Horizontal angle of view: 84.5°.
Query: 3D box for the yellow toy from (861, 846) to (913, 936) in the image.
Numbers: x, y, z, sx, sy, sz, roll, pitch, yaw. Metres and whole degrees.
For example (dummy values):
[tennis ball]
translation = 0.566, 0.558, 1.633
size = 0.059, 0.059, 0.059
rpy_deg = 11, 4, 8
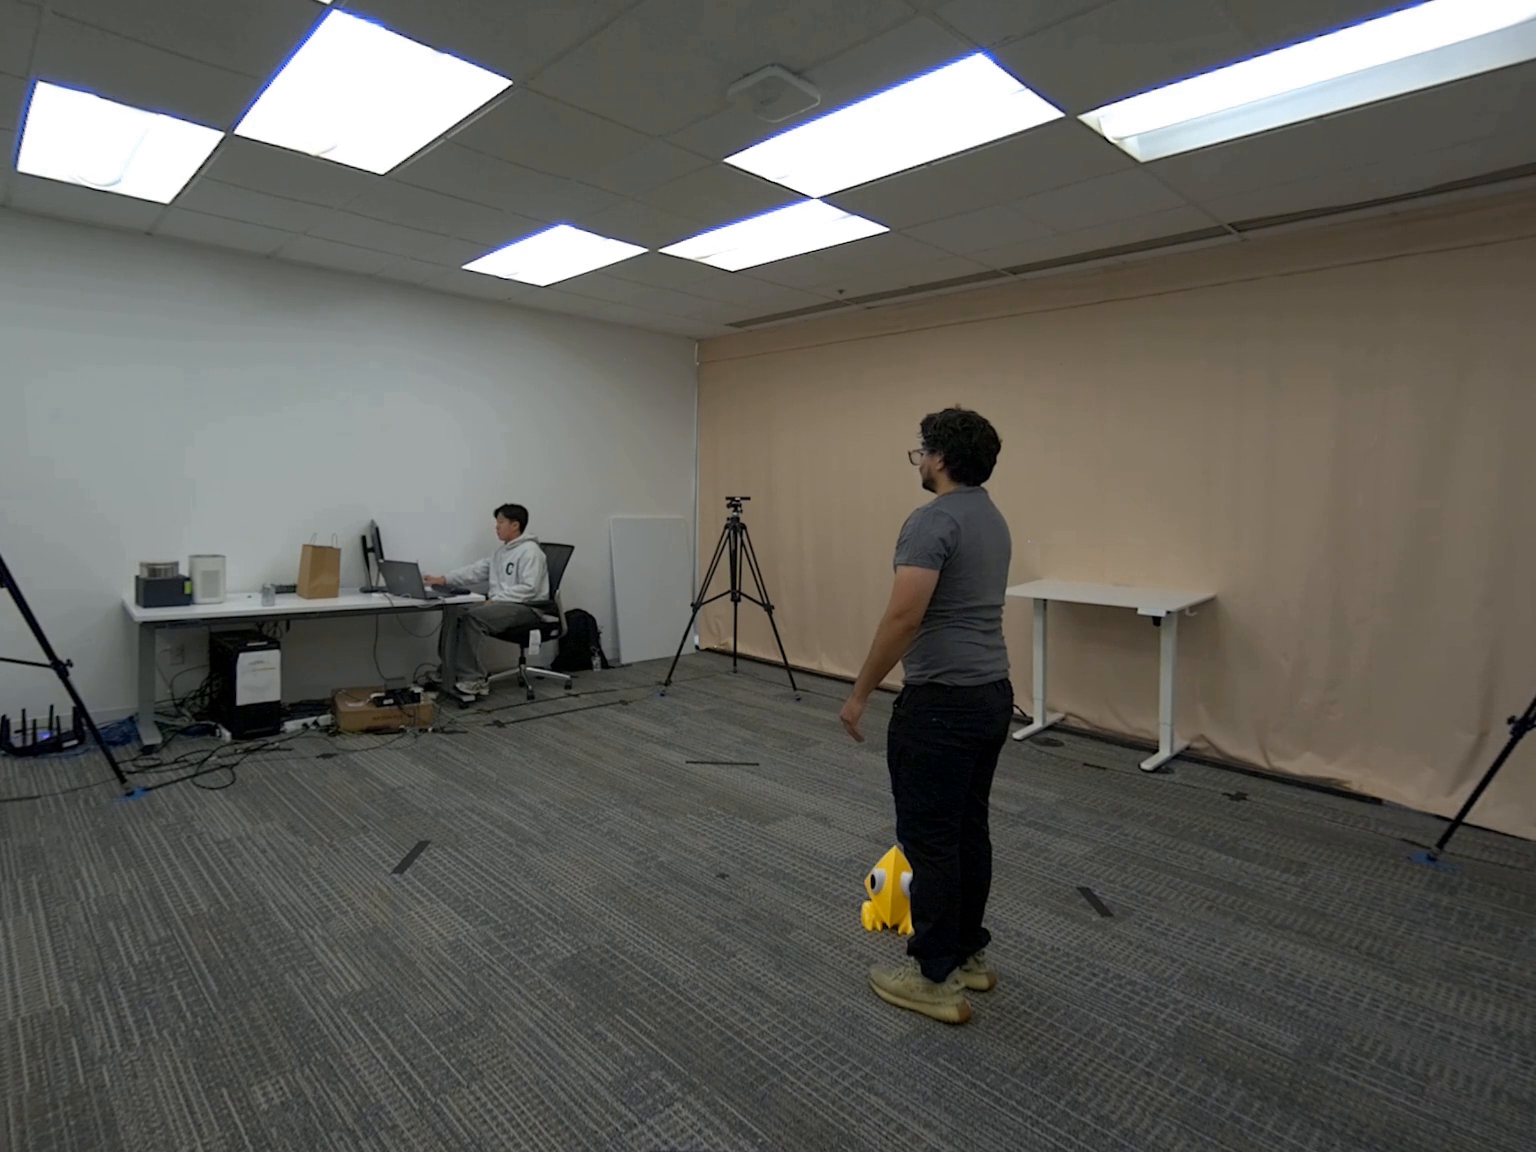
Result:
[yellow toy]
translation = 0.409, 1.035, 2.787
size = 0.207, 0.230, 0.191
rpy_deg = 3, 5, 13
